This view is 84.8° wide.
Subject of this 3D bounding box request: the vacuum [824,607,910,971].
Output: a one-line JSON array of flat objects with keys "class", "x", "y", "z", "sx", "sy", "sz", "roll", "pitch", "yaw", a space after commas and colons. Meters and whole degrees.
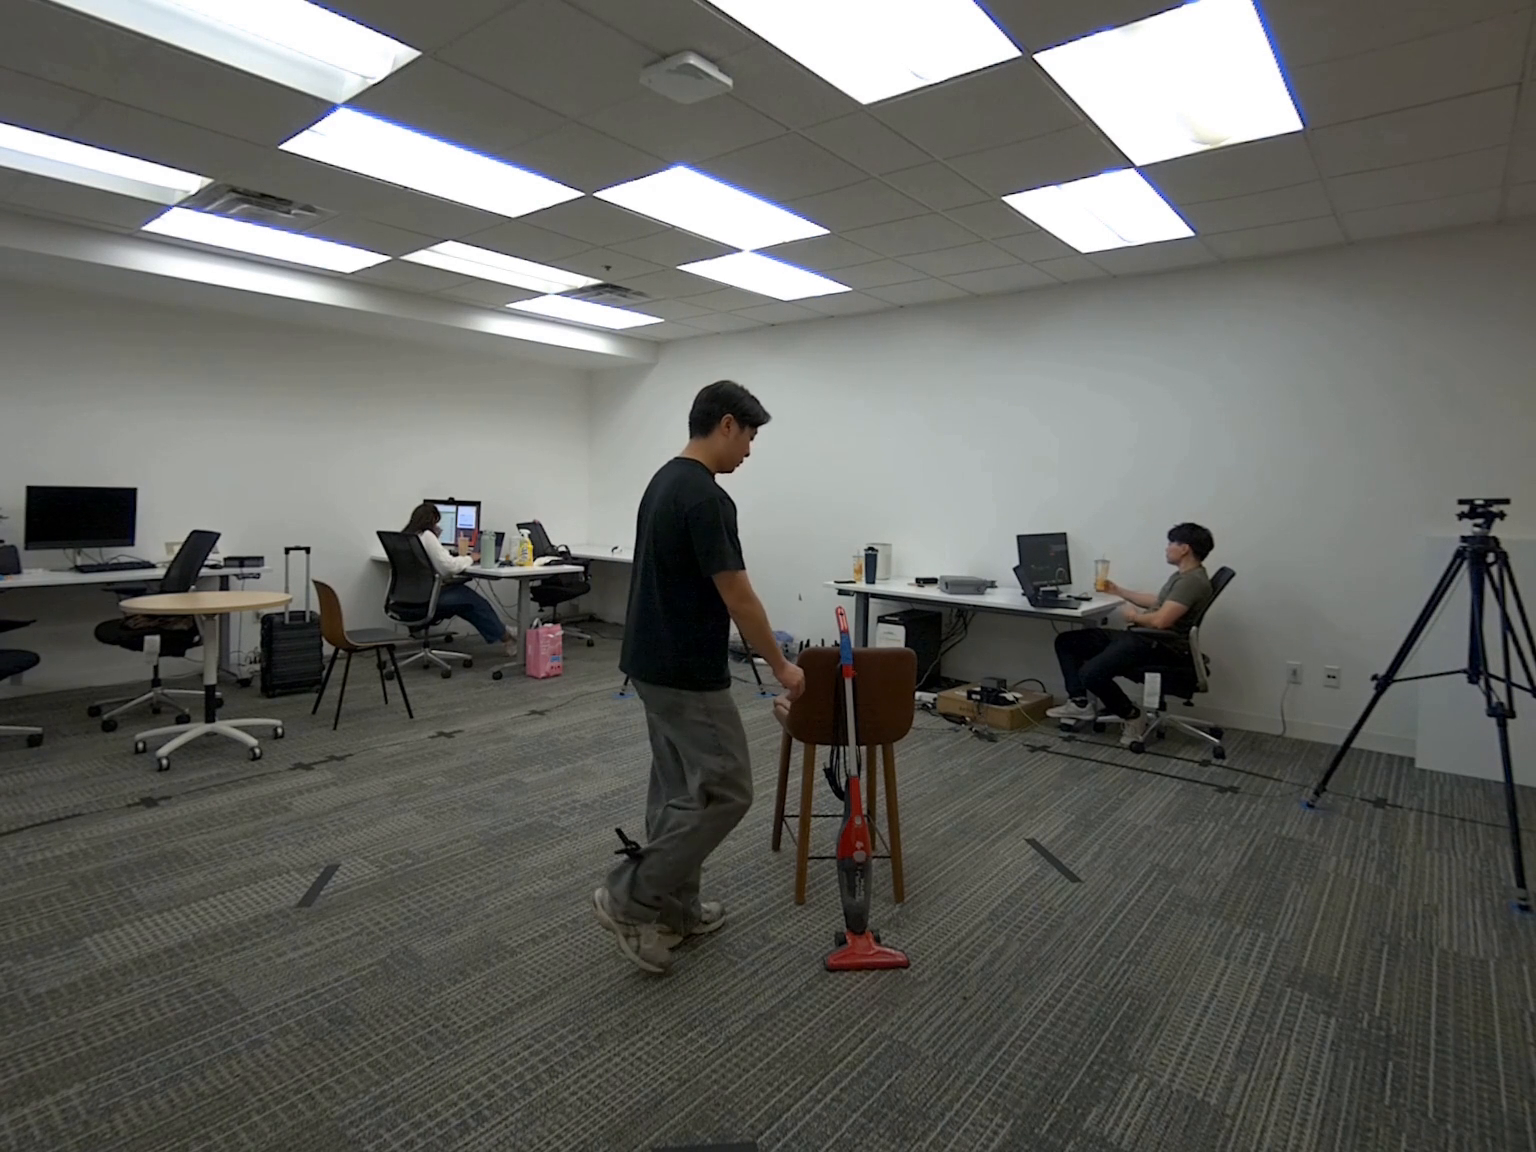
[{"class": "vacuum", "x": 0.254, "y": 0.624, "z": 2.669, "sx": 0.248, "sy": 1.064, "sz": 0.144, "roll": 1, "pitch": -15, "yaw": -16}]
